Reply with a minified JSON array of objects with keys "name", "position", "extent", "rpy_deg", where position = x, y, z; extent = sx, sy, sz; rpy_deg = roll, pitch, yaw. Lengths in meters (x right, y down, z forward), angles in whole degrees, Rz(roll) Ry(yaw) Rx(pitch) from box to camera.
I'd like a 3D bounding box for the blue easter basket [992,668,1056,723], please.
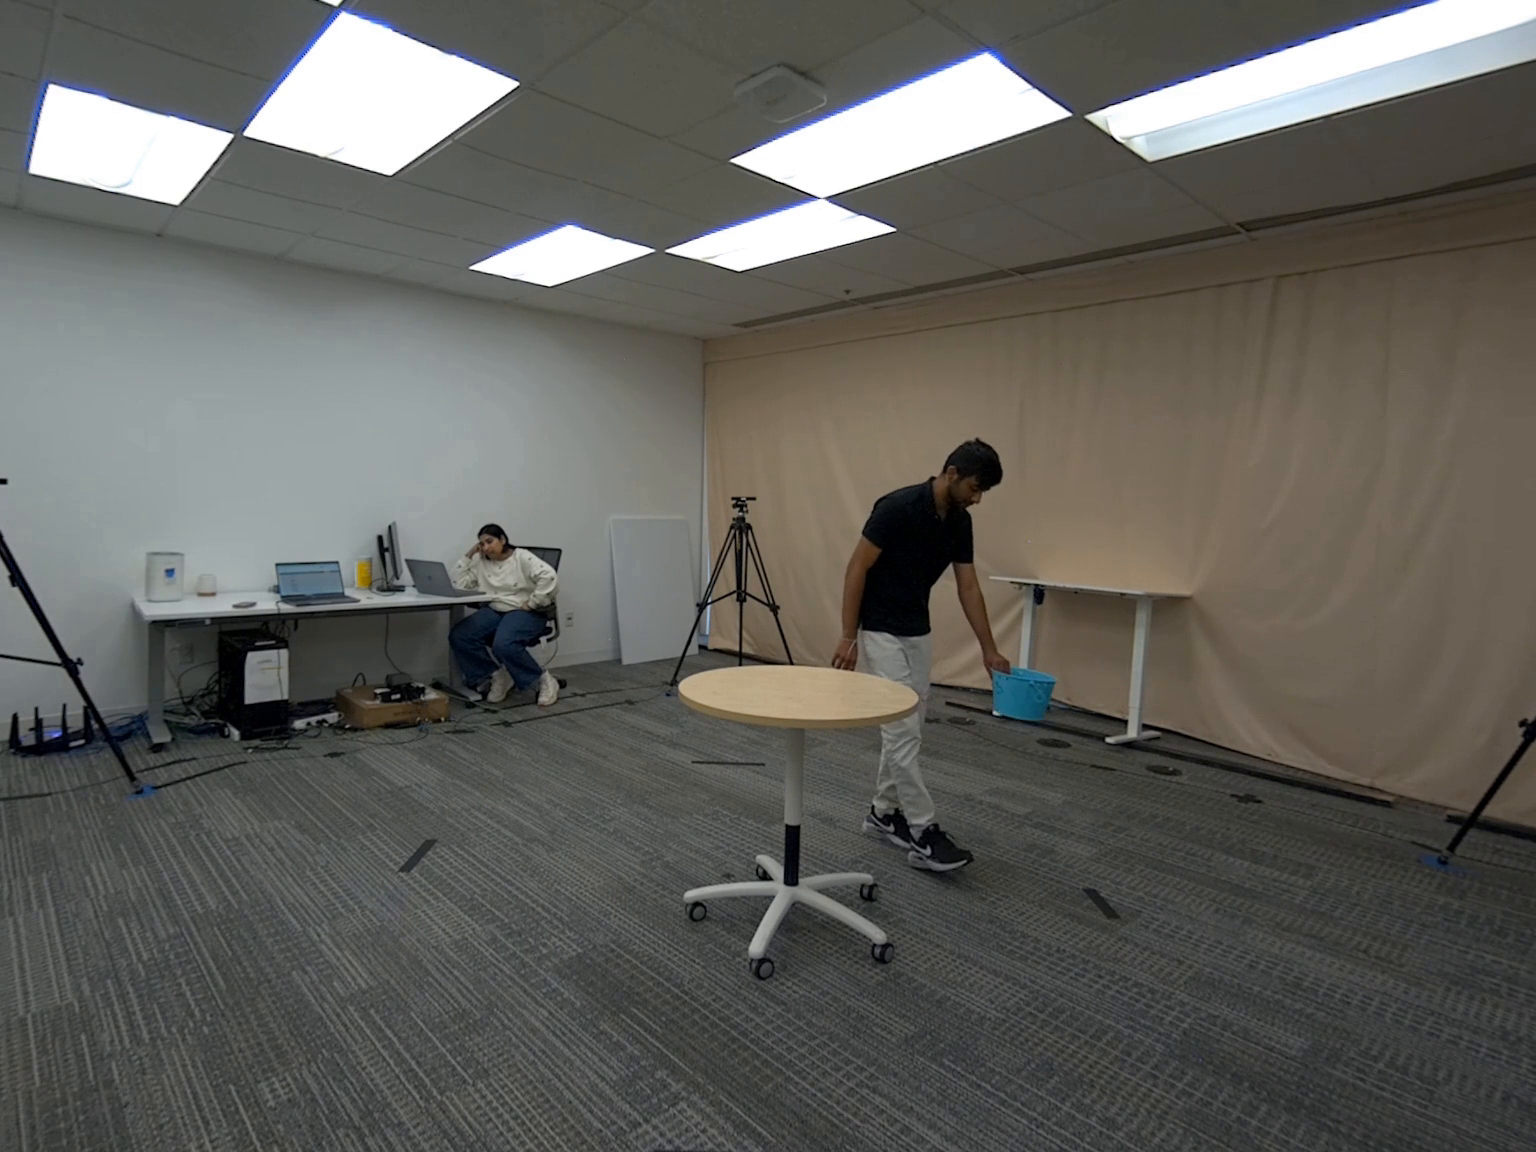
[{"name":"blue easter basket","position":[0.944,0.443,3.103],"extent":[0.243,0.155,0.244],"rpy_deg":[5,5,-2]}]
